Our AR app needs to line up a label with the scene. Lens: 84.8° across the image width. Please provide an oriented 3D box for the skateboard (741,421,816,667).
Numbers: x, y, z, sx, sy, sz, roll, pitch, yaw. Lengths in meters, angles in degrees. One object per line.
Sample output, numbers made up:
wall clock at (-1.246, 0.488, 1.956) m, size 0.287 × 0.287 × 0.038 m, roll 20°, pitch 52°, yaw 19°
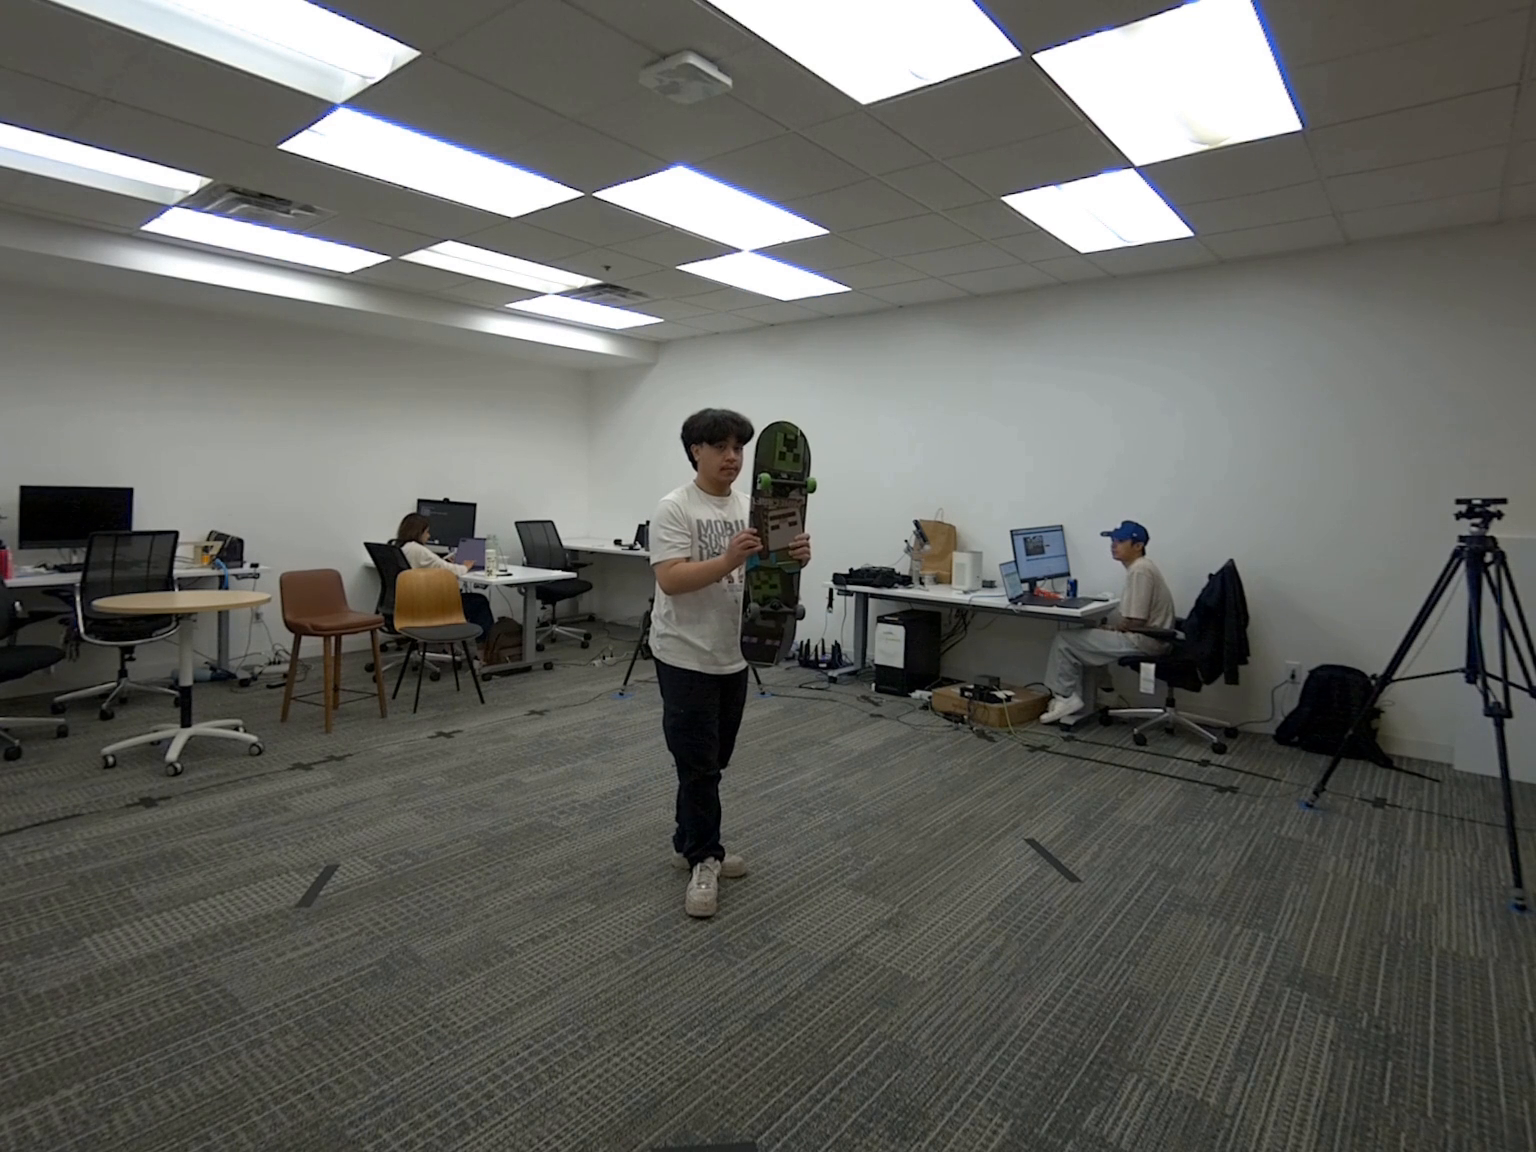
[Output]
skateboard at (0.026, -0.095, 2.665) m, size 0.190 × 0.783 × 0.112 m, roll 3°, pitch 3°, yaw -16°
